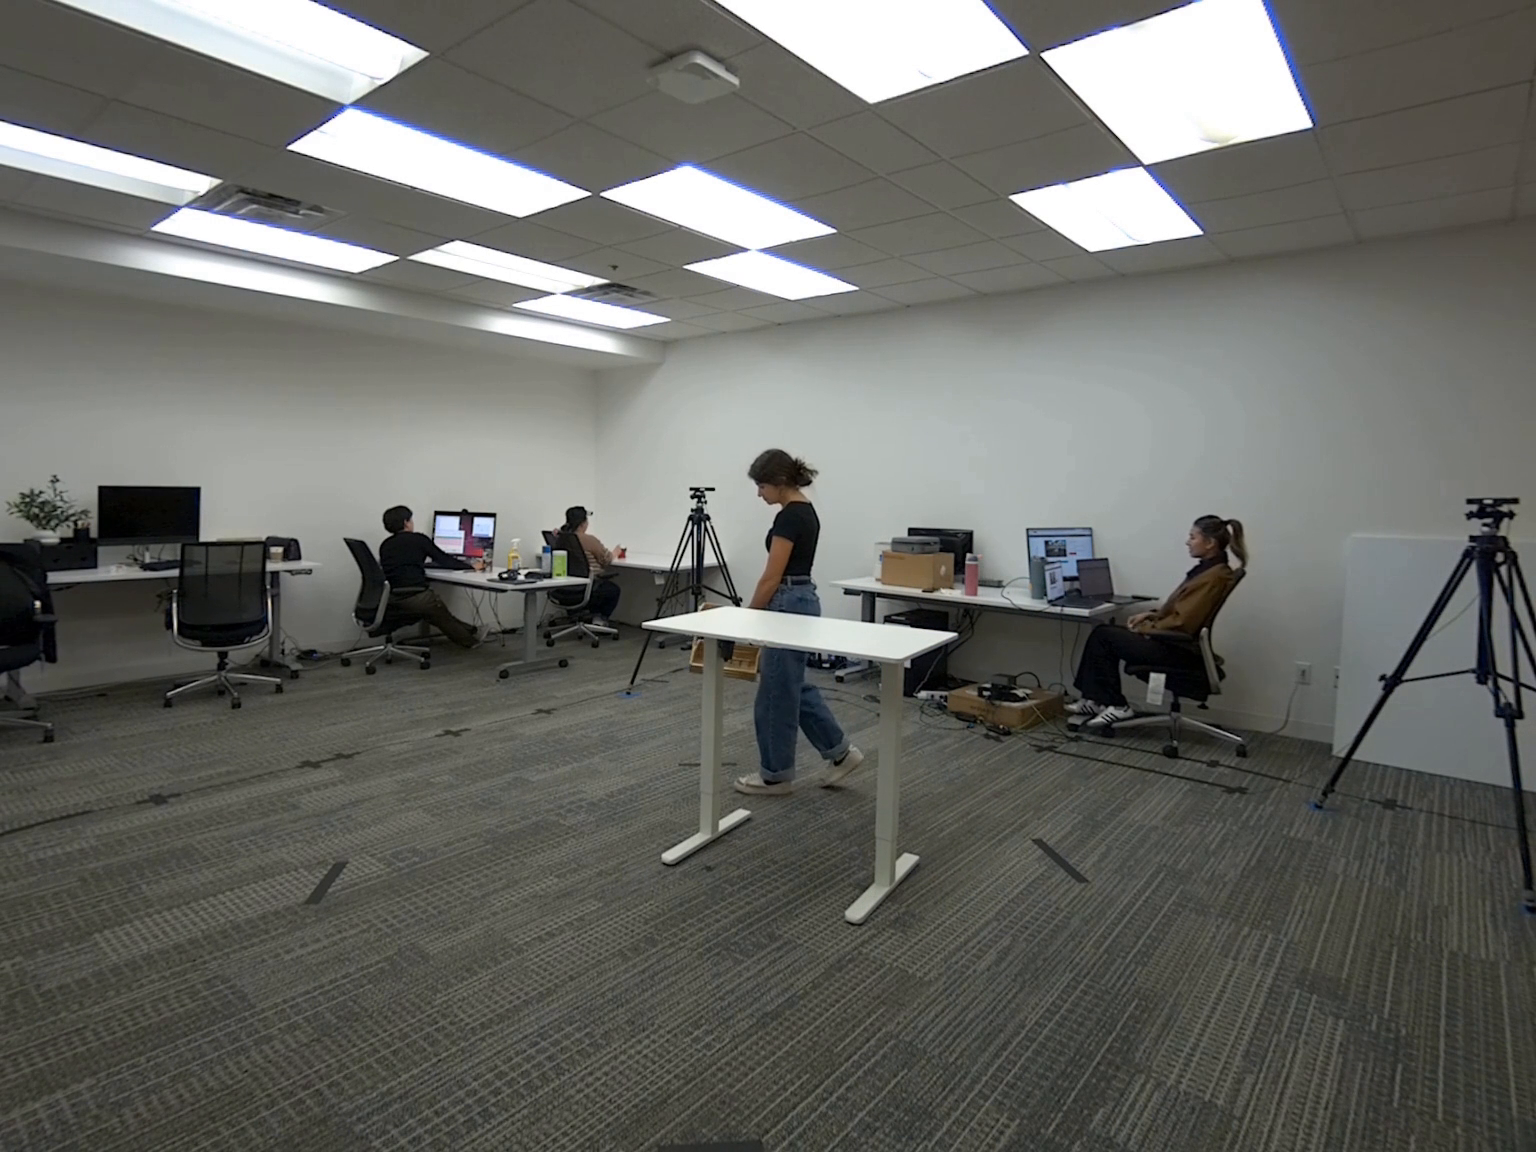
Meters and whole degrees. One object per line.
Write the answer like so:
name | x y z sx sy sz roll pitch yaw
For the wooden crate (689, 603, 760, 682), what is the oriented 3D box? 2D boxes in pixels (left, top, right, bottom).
wooden crate | -0.186 0.294 3.908 0.327 0.271 0.303 7 11 5
